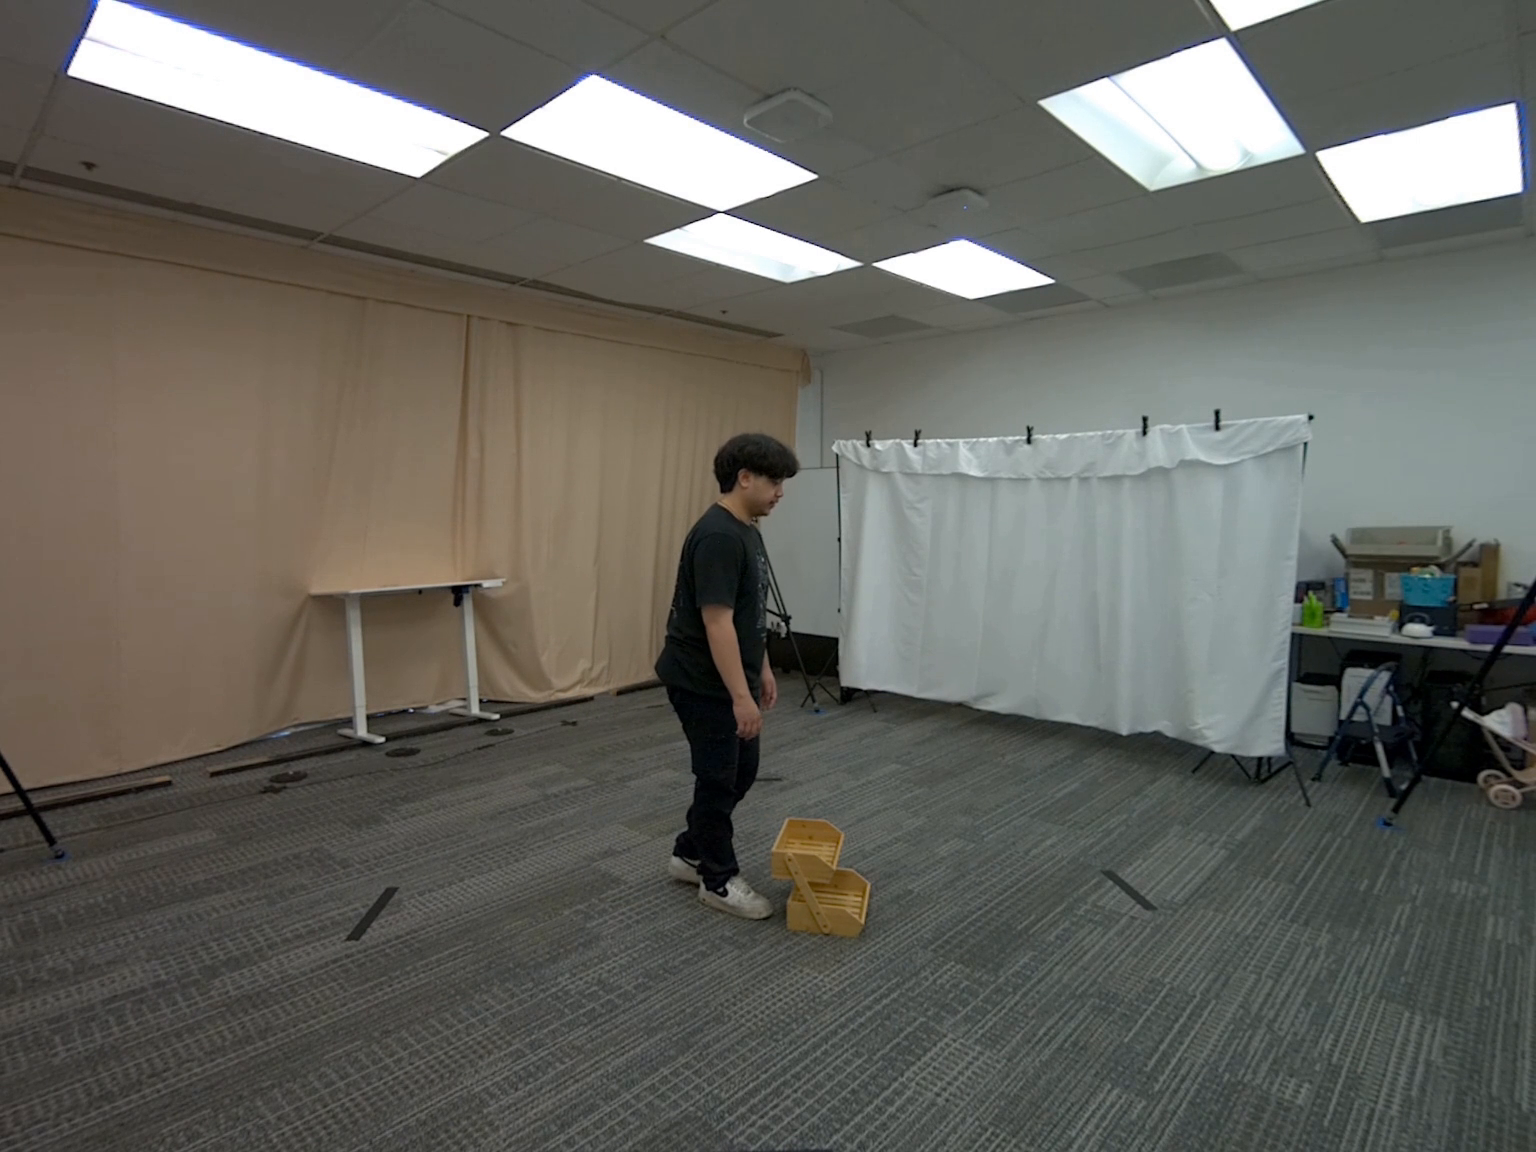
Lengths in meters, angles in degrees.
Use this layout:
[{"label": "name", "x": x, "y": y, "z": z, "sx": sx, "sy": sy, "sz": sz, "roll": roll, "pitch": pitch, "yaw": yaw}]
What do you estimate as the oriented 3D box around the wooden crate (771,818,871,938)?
[{"label": "wooden crate", "x": 0.195, "y": 1.022, "z": 2.877, "sx": 0.306, "sy": 0.273, "sz": 0.321, "roll": 1, "pitch": 4, "yaw": 12}]
